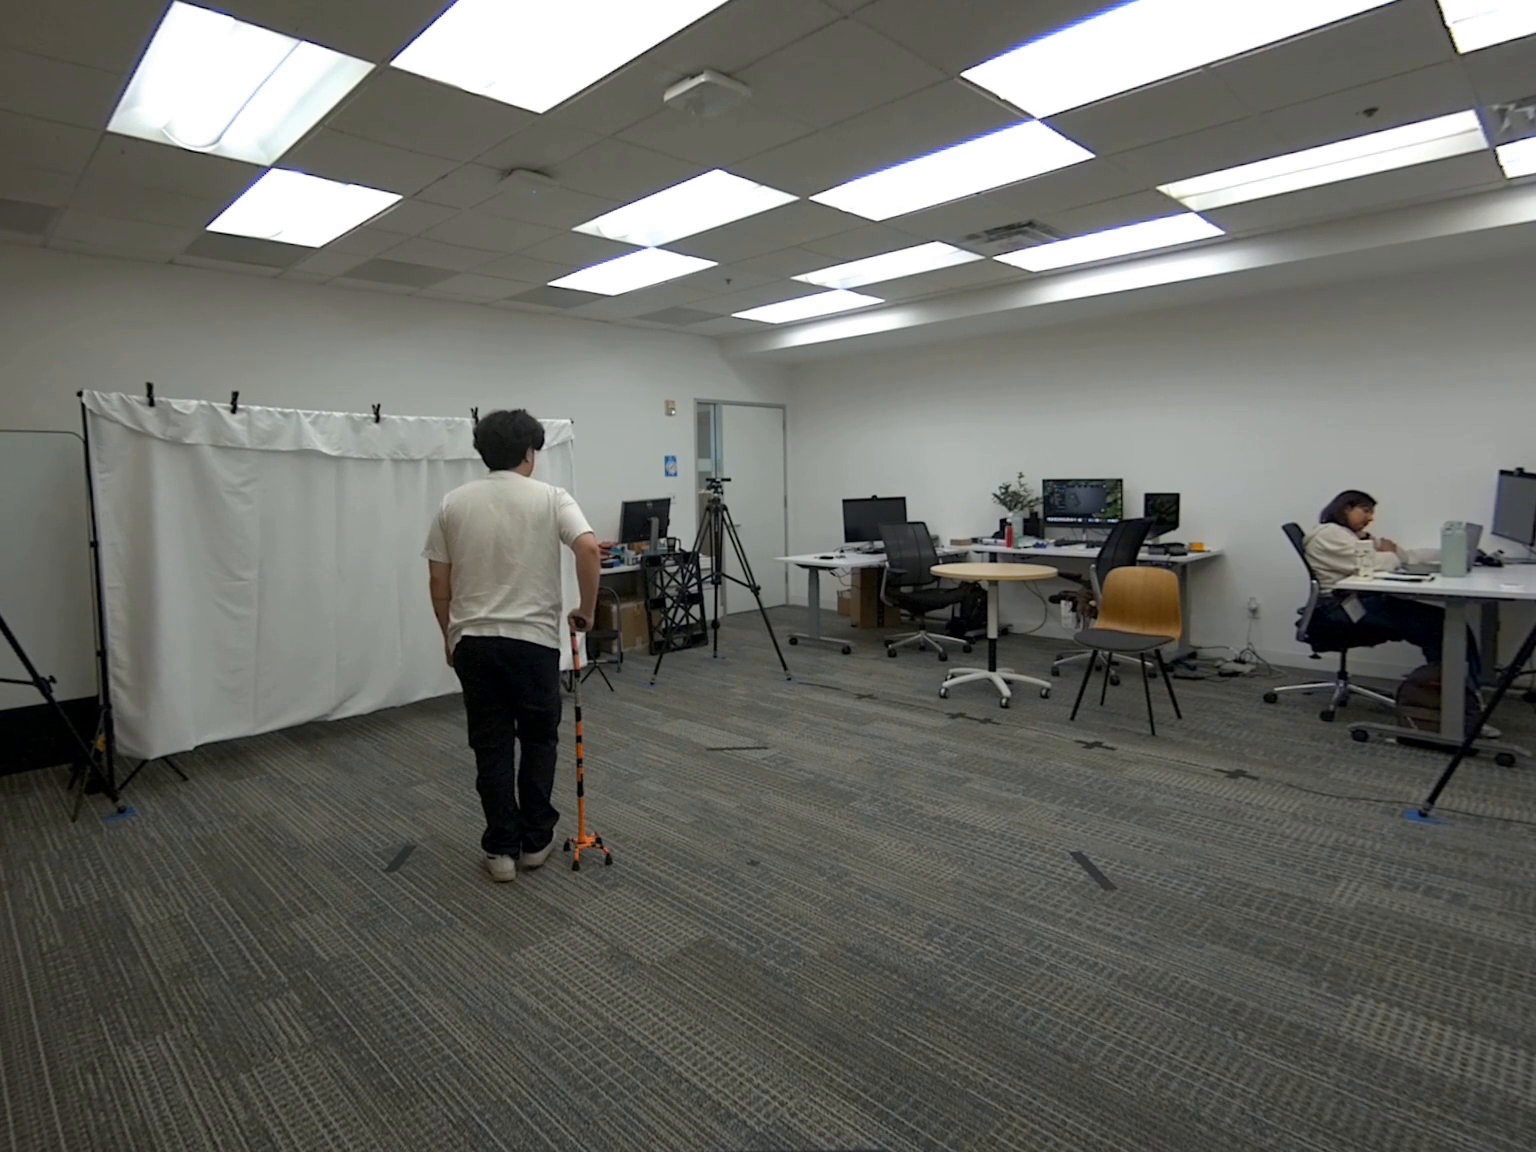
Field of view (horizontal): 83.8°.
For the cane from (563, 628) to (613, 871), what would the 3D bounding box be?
[{"bbox_3d":[-0.668,0.588,3.154,0.149,0.905,0.211,-2,4,-20],"label":"cane"}]
